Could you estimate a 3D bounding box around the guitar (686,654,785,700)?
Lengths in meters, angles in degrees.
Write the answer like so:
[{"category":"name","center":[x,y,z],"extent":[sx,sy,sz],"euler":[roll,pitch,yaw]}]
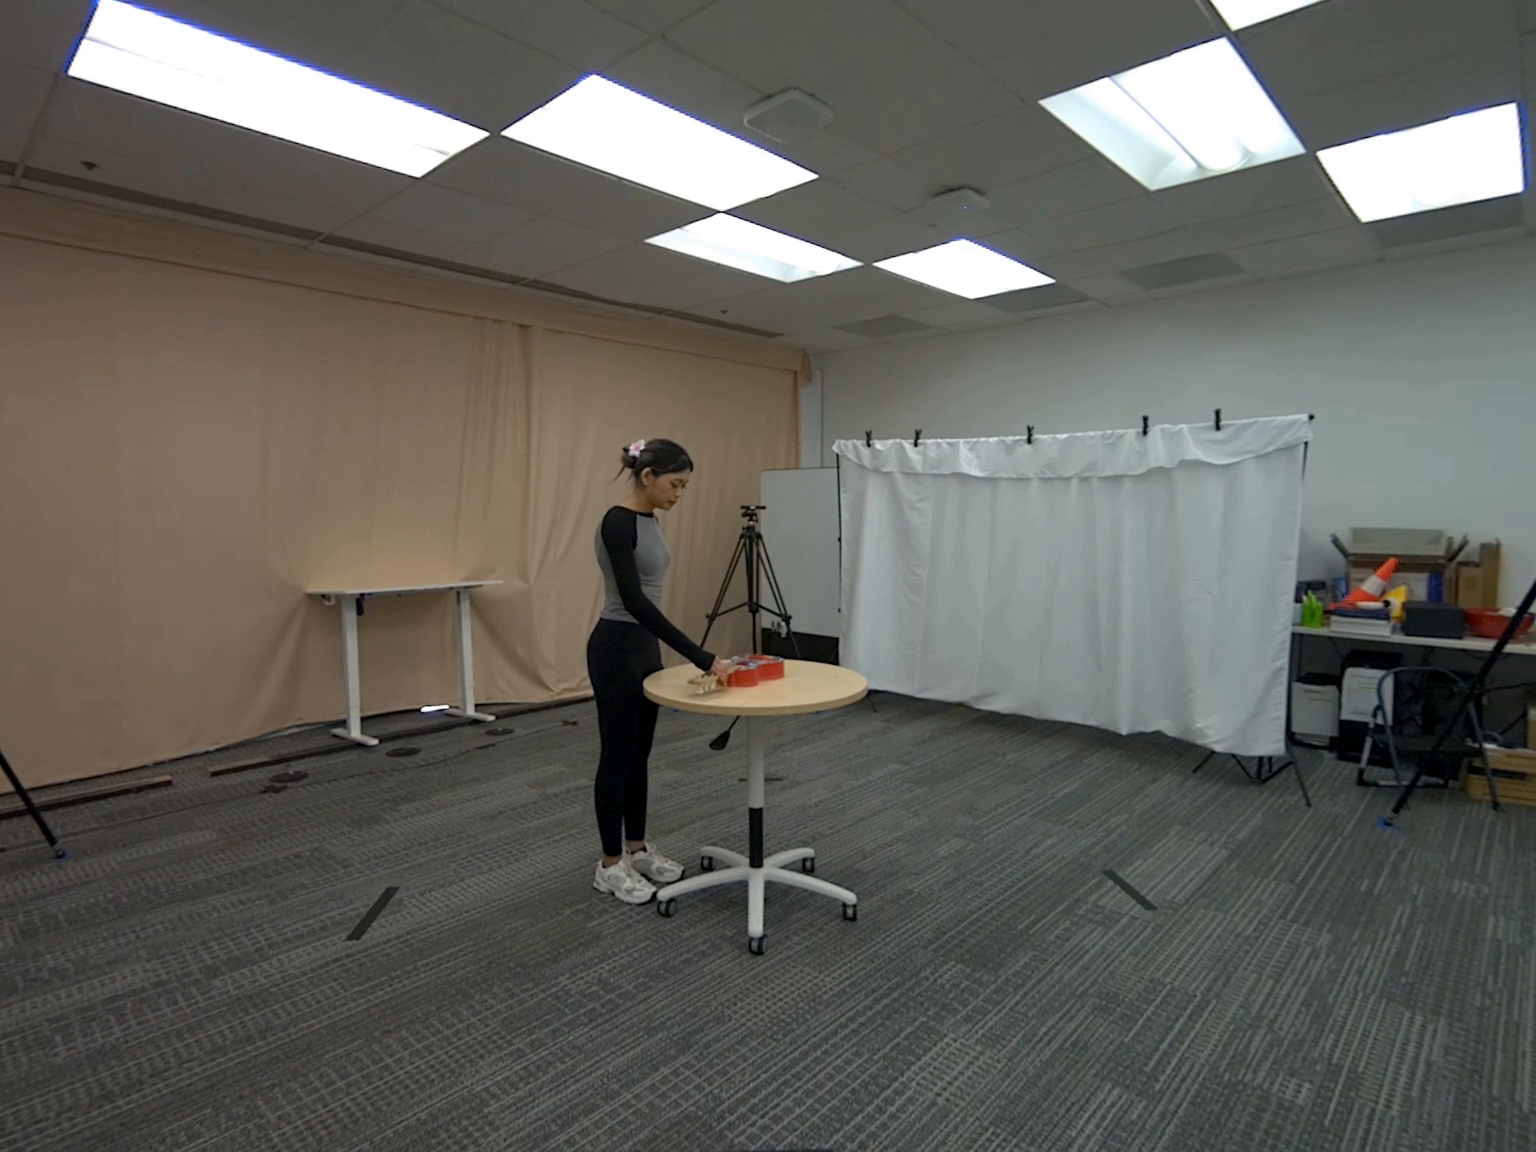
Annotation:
[{"category":"guitar","center":[-0.135,0.335,2.827],"extent":[0.199,0.070,0.484],"euler":[1,5,33]}]
